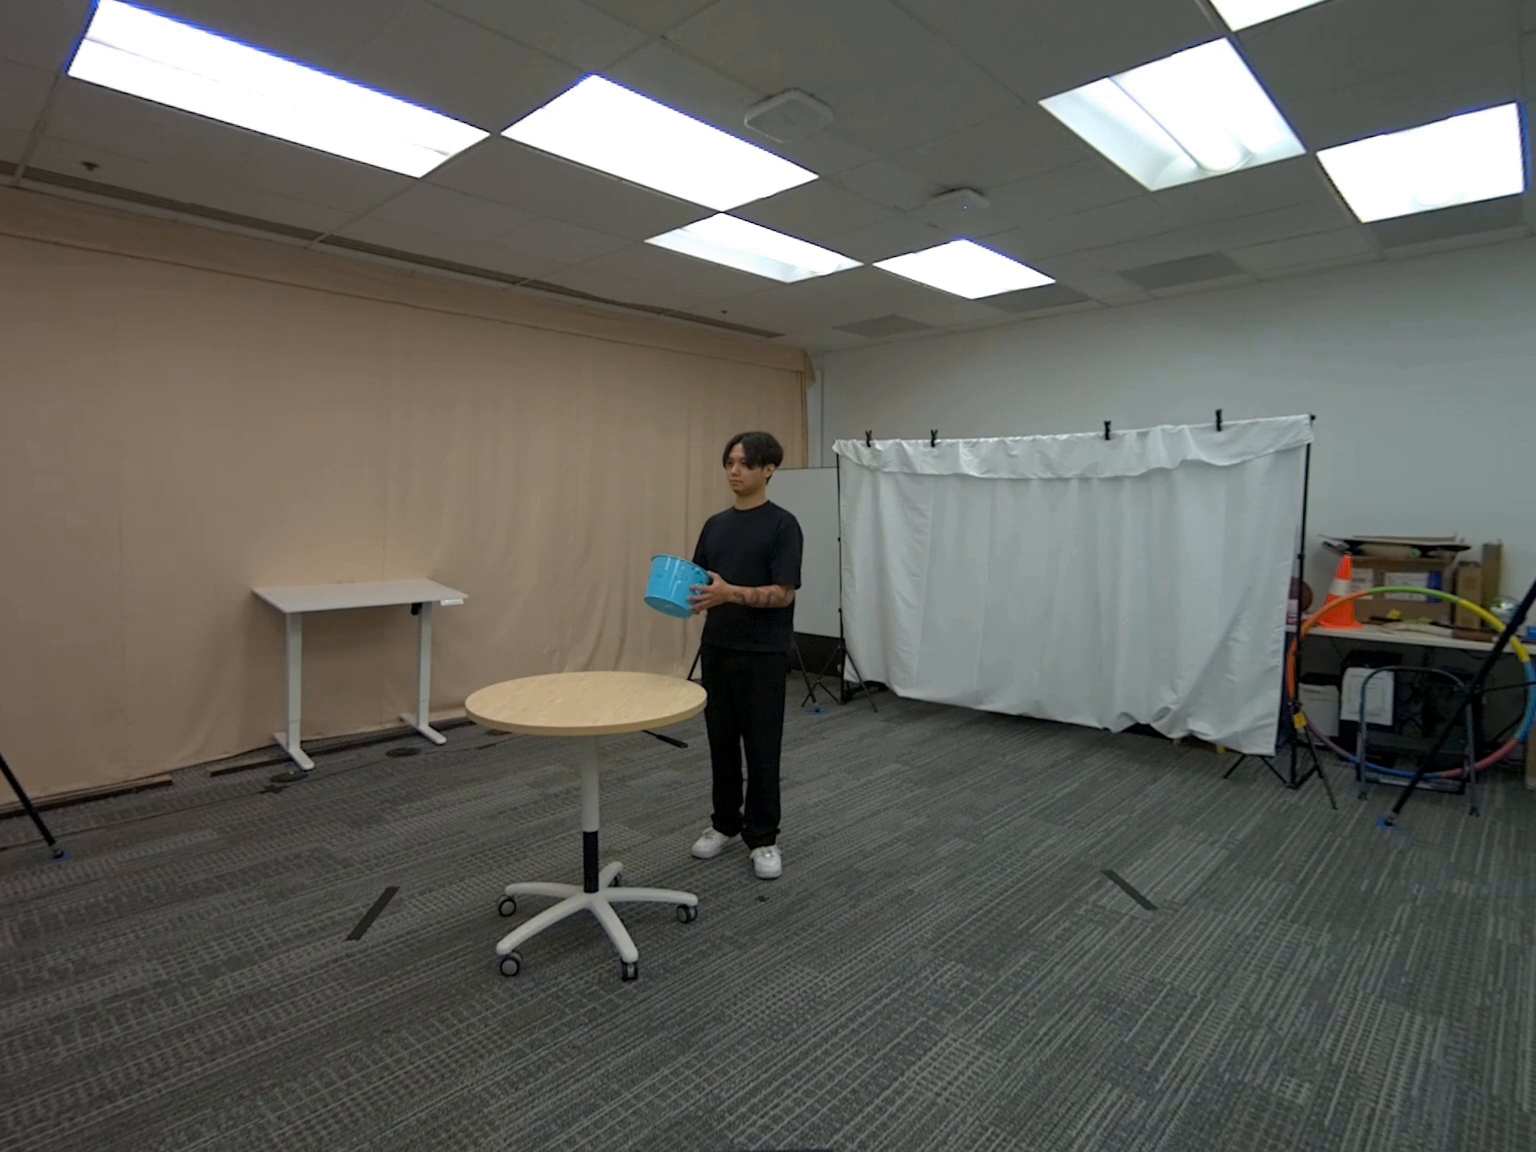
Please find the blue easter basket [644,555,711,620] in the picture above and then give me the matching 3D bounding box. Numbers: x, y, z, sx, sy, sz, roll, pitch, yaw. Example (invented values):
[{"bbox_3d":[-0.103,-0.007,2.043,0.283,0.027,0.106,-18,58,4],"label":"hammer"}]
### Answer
[{"bbox_3d":[-0.324,0.047,3.042,0.246,0.156,0.241,19,-21,6],"label":"blue easter basket"}]
